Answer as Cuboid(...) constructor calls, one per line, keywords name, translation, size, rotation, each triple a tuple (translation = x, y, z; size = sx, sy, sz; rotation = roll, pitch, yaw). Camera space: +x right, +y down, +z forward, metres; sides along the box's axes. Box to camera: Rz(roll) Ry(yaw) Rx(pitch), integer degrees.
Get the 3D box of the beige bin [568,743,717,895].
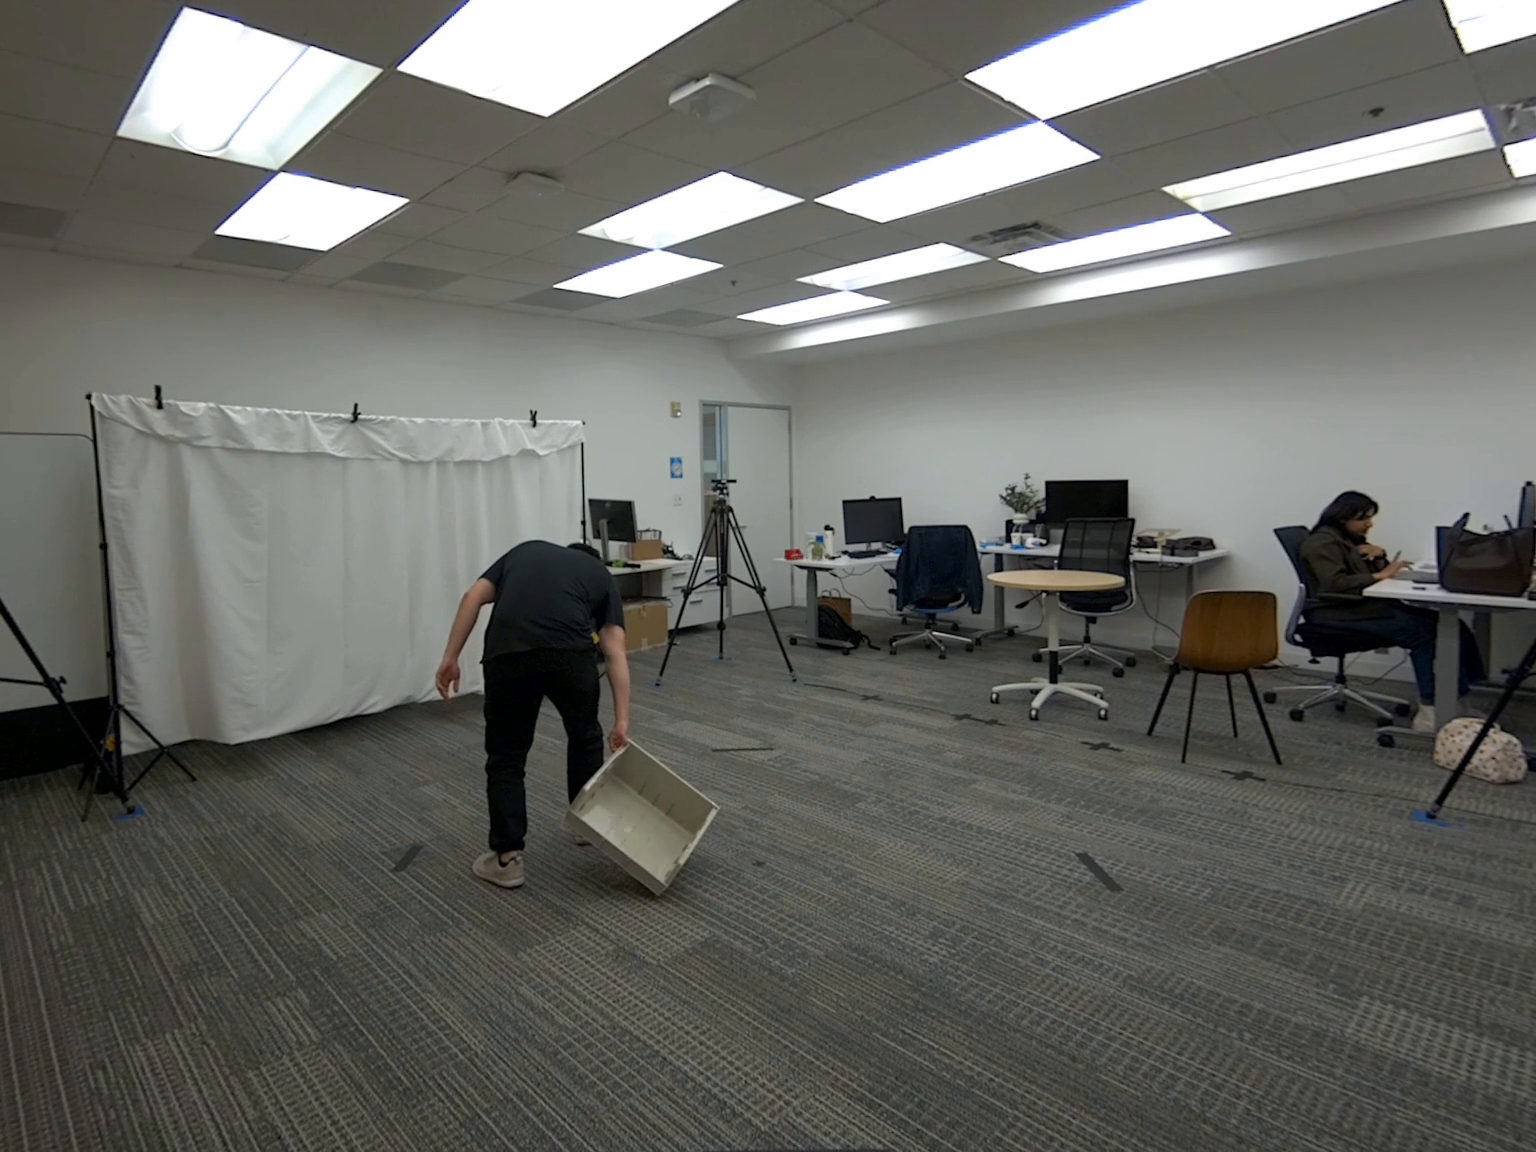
Cuboid(name="beige bin", translation=(-0.441, 0.847, 3.018), size=(0.427, 0.188, 0.375), rotation=(33, 20, 7))
